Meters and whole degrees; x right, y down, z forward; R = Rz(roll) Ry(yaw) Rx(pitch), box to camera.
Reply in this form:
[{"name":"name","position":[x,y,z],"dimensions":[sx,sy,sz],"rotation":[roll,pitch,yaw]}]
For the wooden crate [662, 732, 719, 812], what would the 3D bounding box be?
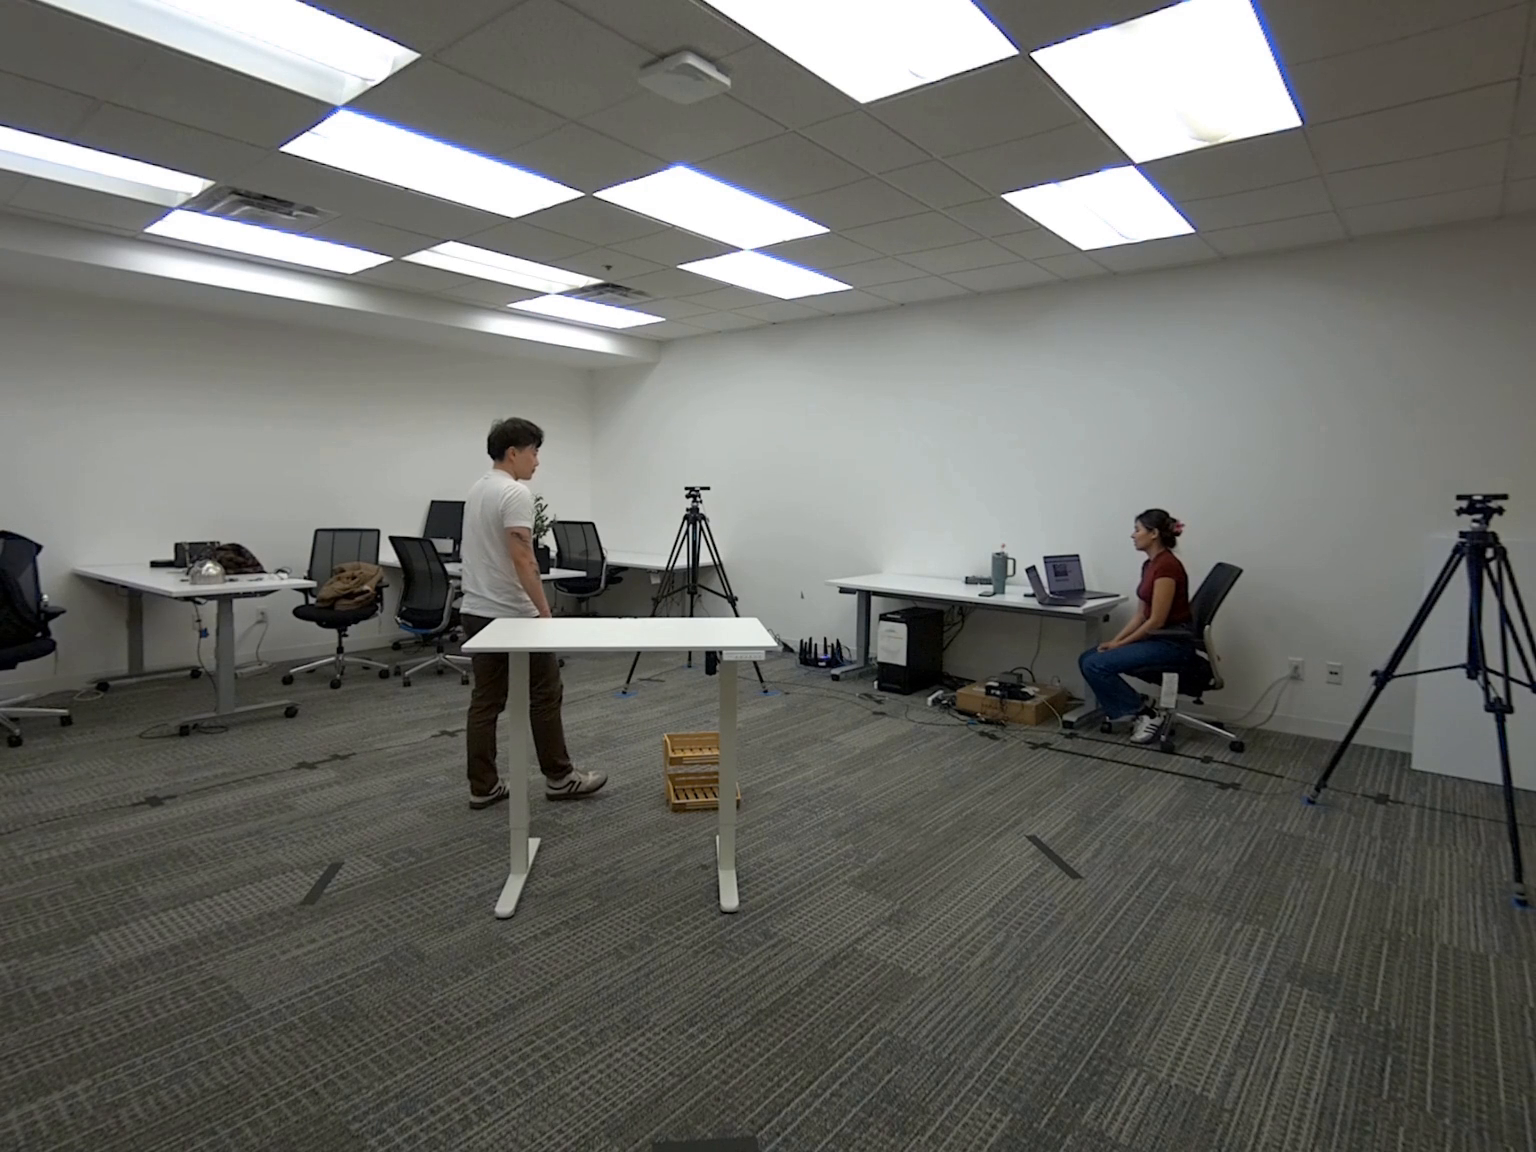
[{"name":"wooden crate","position":[-0.311,0.857,3.797],"dimensions":[0.320,0.272,0.307],"rotation":[-1,4,-13]}]
